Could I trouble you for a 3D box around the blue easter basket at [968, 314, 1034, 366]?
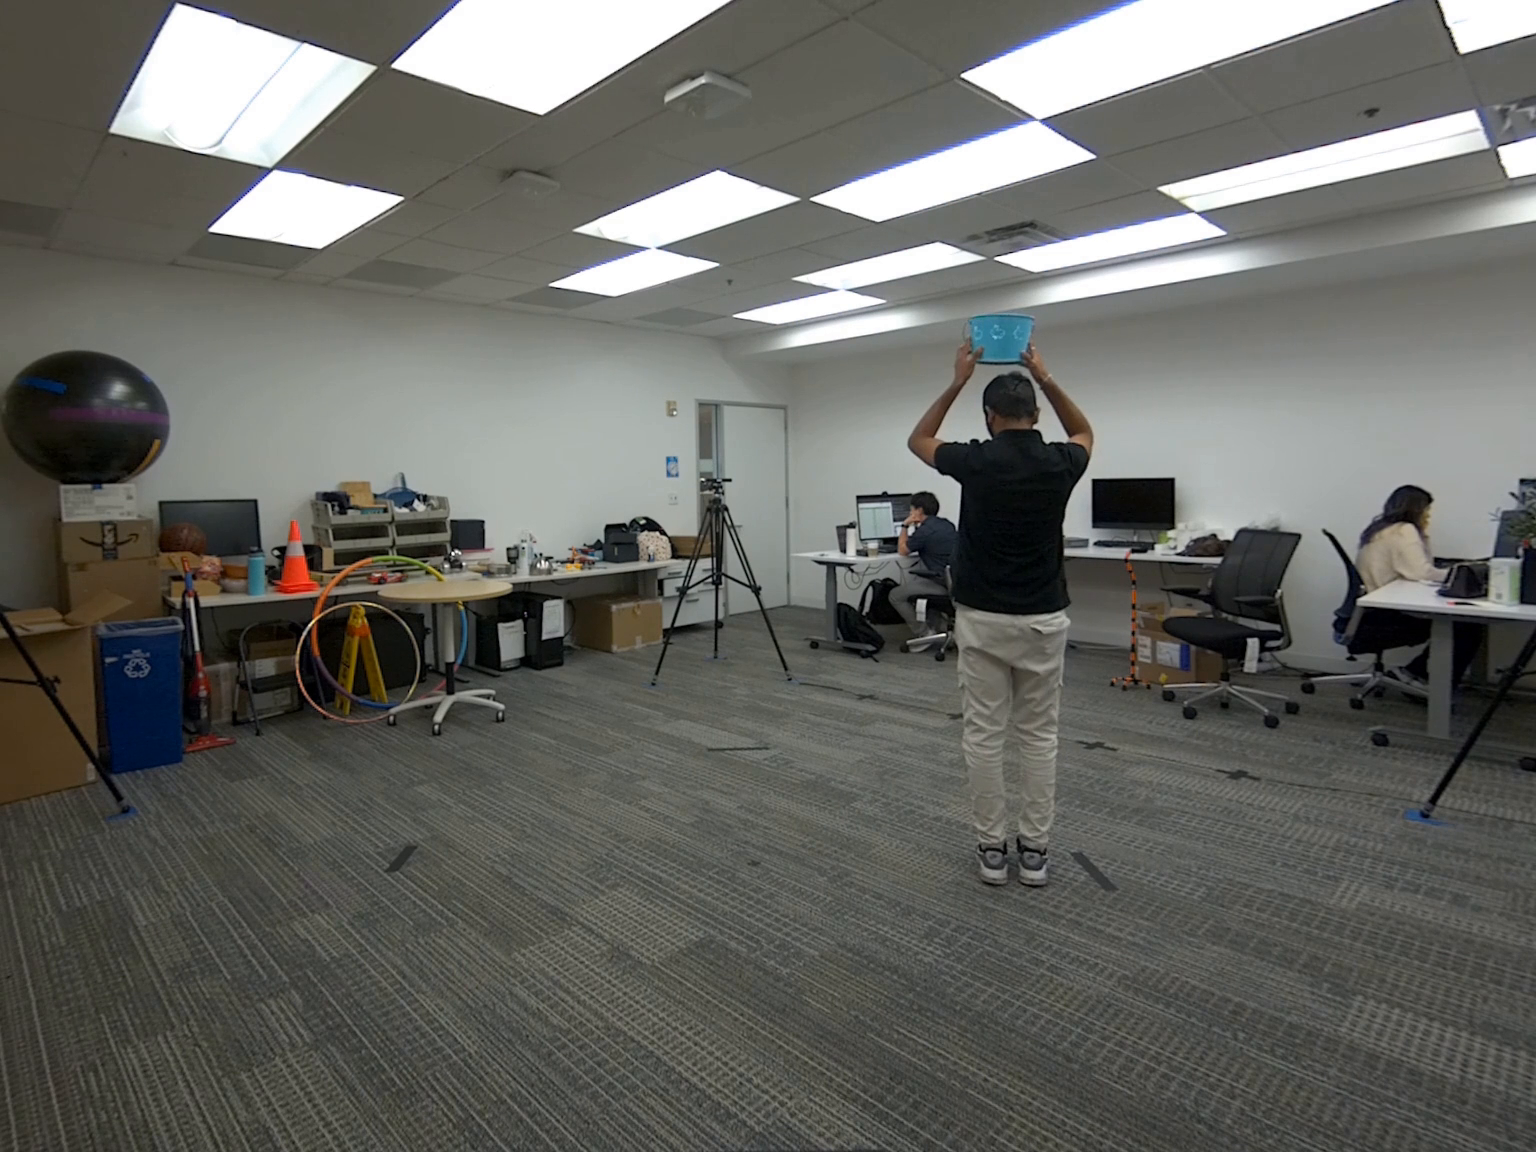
[{"bbox_3d":[0.851,-0.849,3.070,0.243,0.155,0.245,3,6,-2],"label":"blue easter basket"}]
